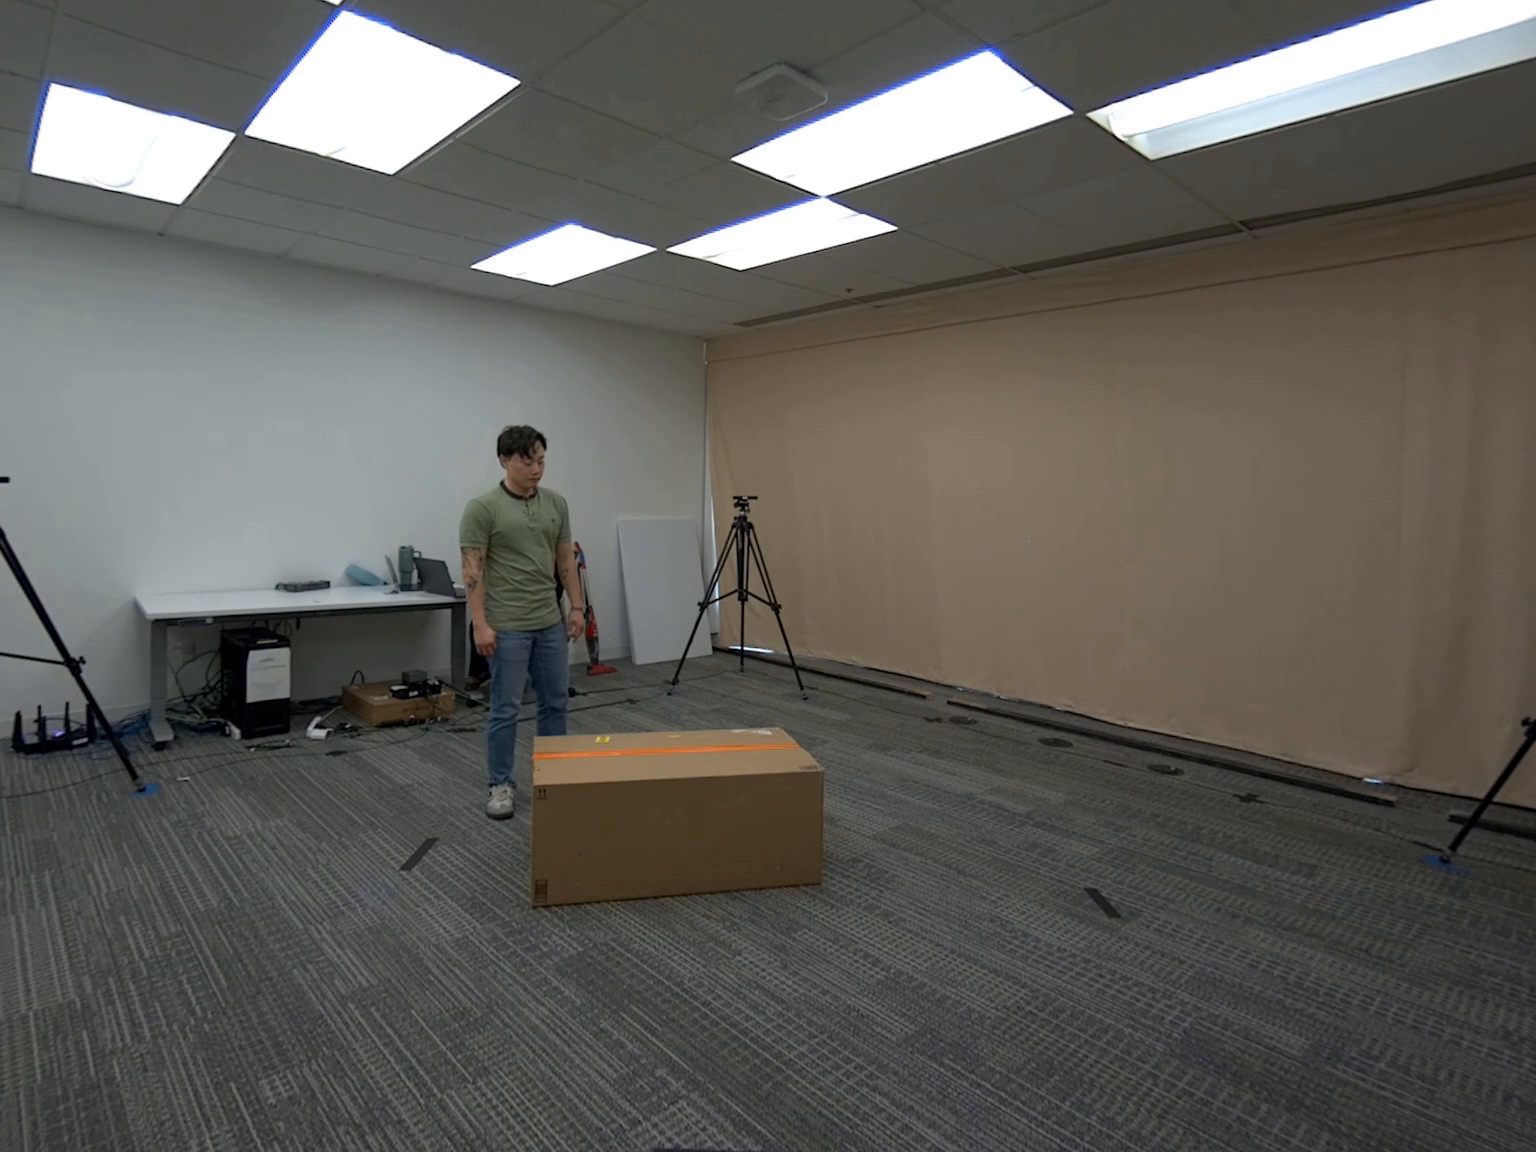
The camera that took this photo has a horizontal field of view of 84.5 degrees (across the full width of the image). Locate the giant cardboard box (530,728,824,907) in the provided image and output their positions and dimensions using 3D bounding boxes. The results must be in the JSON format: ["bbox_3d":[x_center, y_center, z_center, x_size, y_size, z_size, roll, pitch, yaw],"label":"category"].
[{"bbox_3d":[-0.375,0.871,3.189,1.015,0.425,0.585,0,4,-14],"label":"giant cardboard box"}]
